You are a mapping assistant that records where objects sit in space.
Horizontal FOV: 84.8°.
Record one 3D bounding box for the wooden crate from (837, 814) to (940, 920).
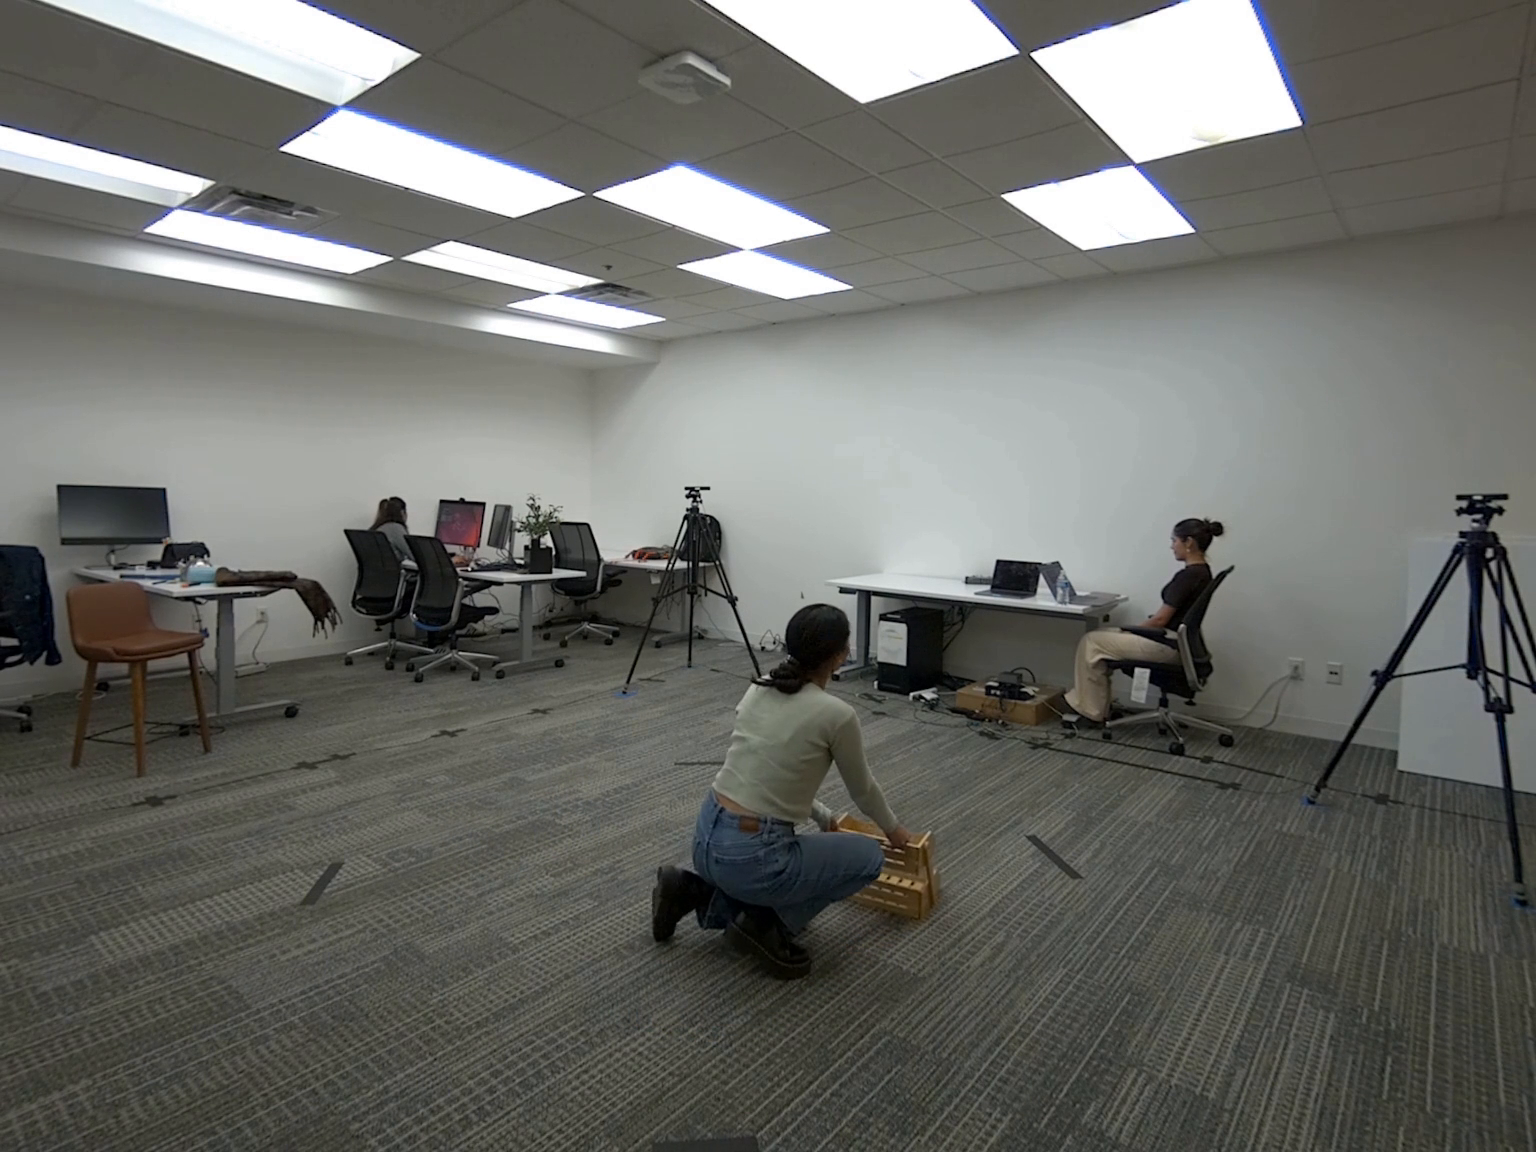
[{"bbox_3d":[0.404,0.963,2.916,0.333,0.272,0.295,4,6,27],"label":"wooden crate"}]
